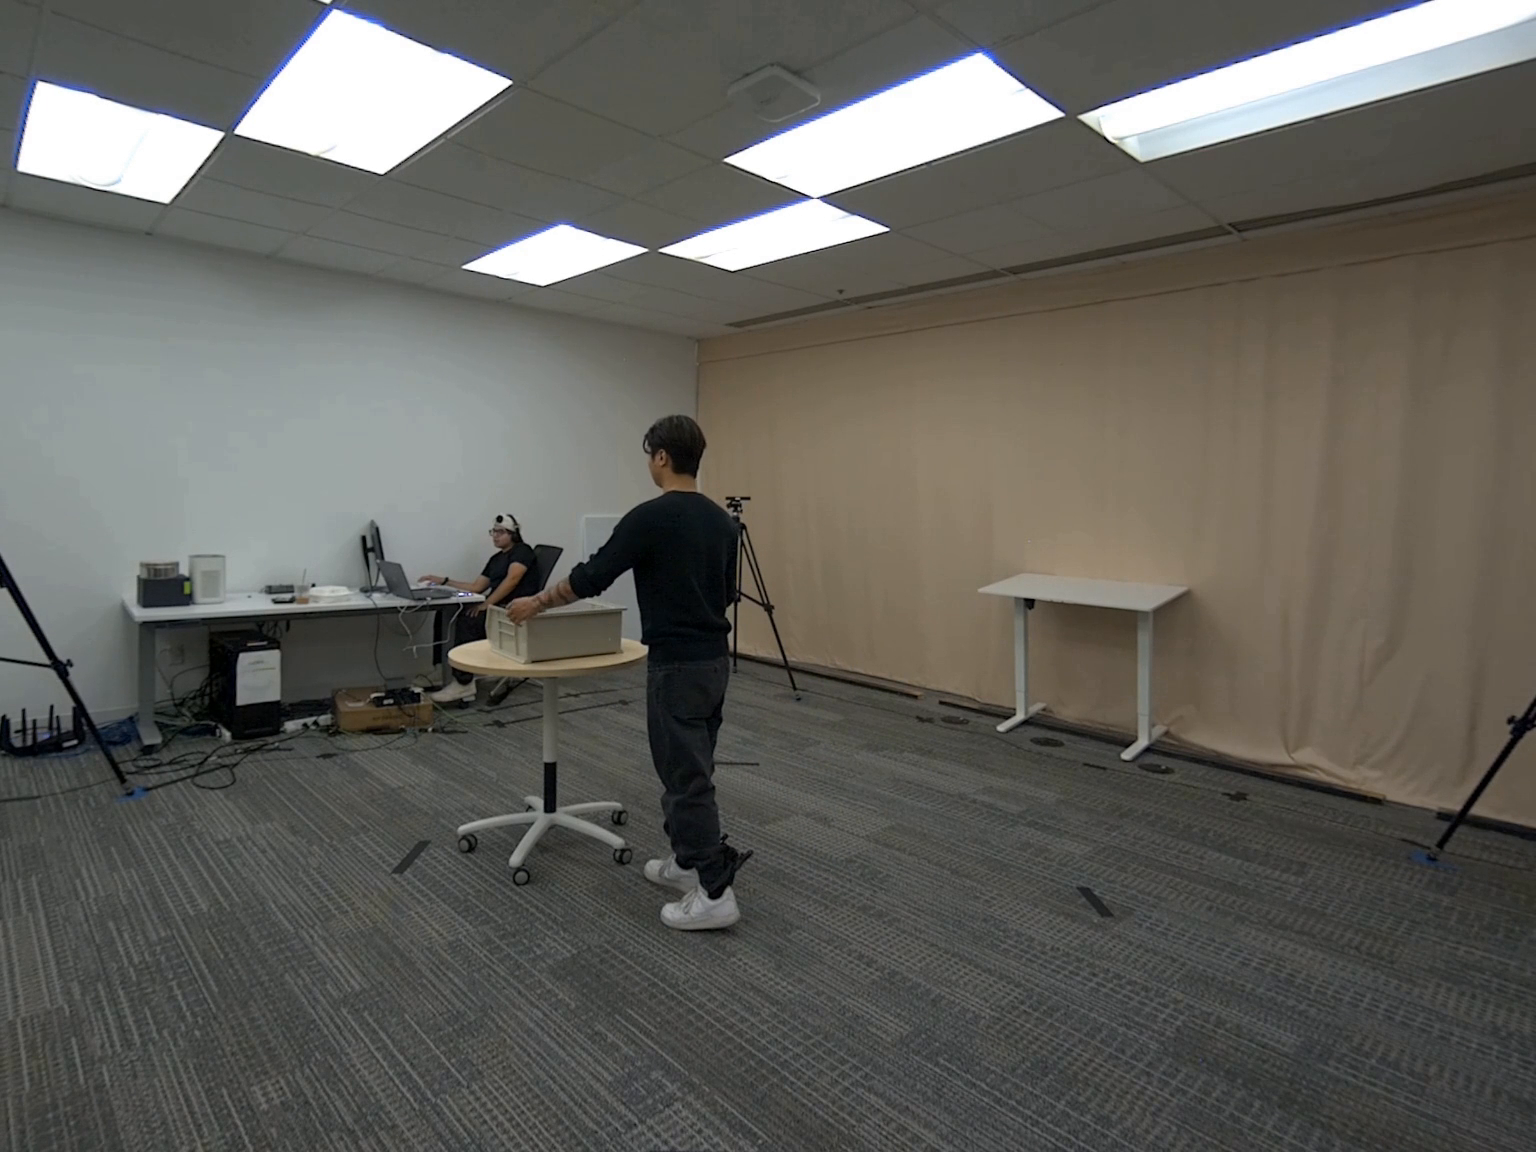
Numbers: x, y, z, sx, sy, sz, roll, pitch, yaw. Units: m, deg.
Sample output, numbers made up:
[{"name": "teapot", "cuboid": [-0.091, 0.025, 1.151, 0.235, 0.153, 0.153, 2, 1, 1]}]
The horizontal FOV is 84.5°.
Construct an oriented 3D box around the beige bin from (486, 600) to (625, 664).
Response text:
[{"name": "beige bin", "cuboid": [-0.826, 0.201, 3.260, 0.413, 0.188, 0.387, -2, 7, -37]}]
